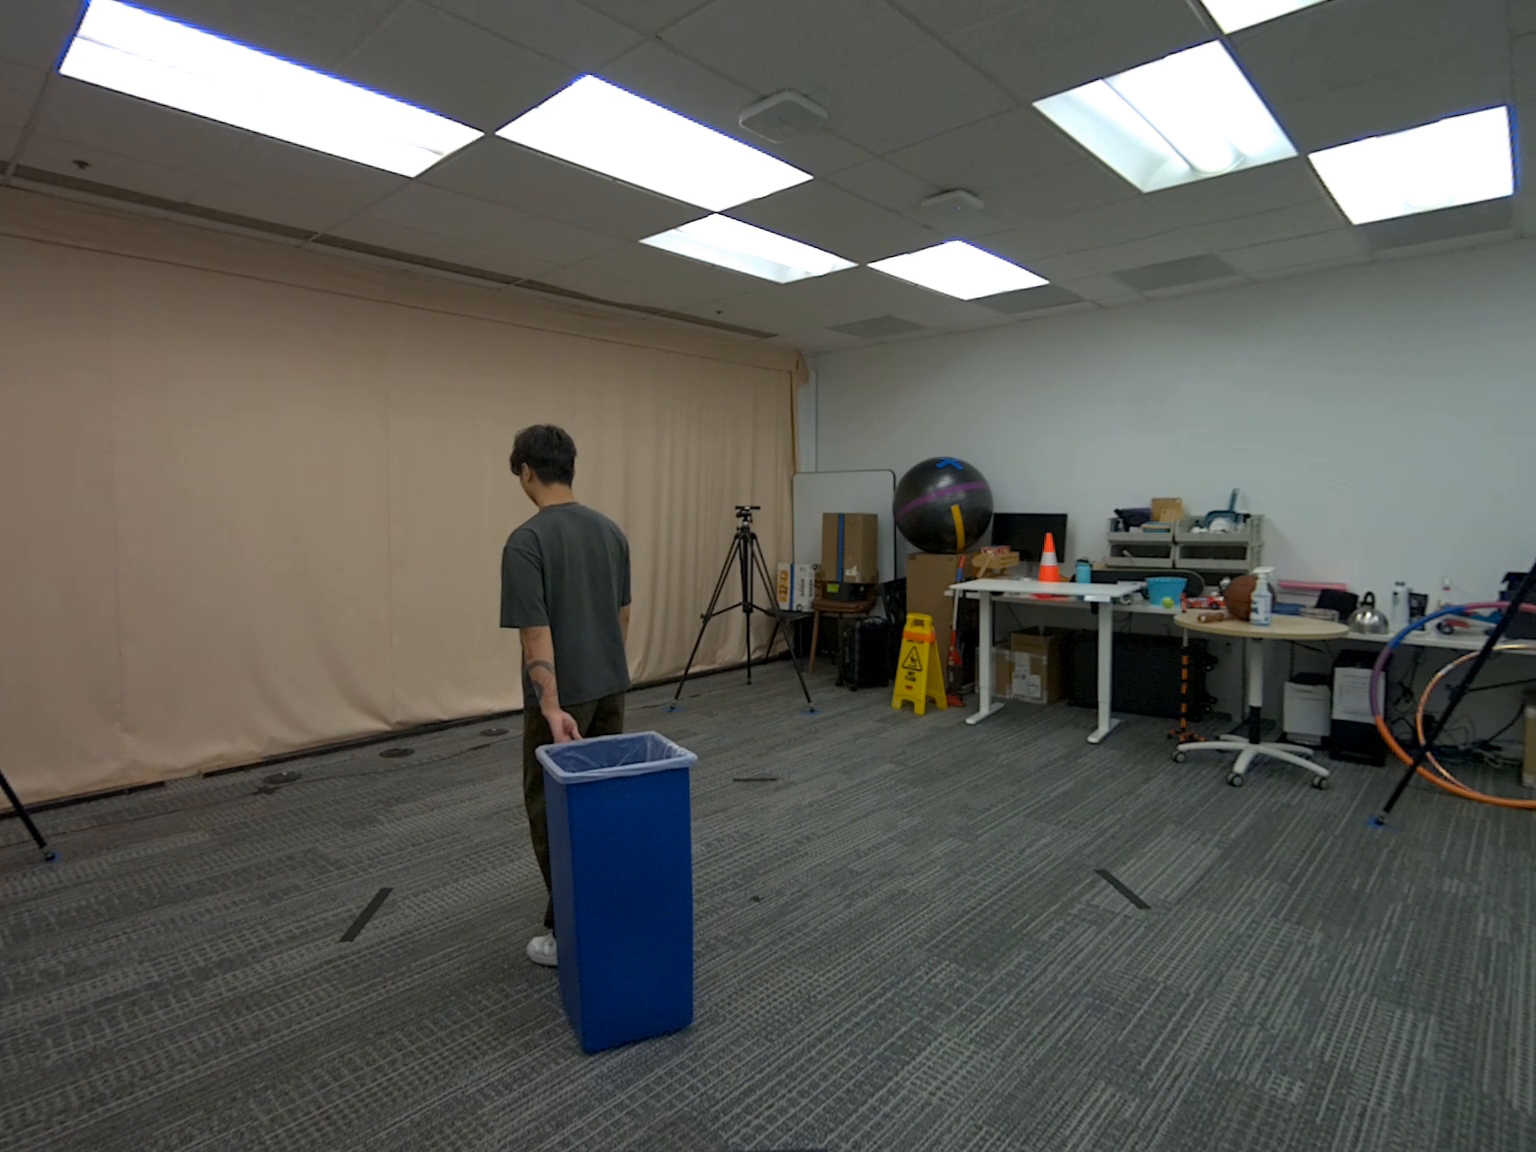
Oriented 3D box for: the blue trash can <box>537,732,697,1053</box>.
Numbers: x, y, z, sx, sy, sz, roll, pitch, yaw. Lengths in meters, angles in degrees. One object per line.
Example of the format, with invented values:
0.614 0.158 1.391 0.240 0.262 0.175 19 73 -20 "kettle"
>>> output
-0.408 0.839 2.307 0.365 0.714 0.387 -2 0 -25 "blue trash can"
